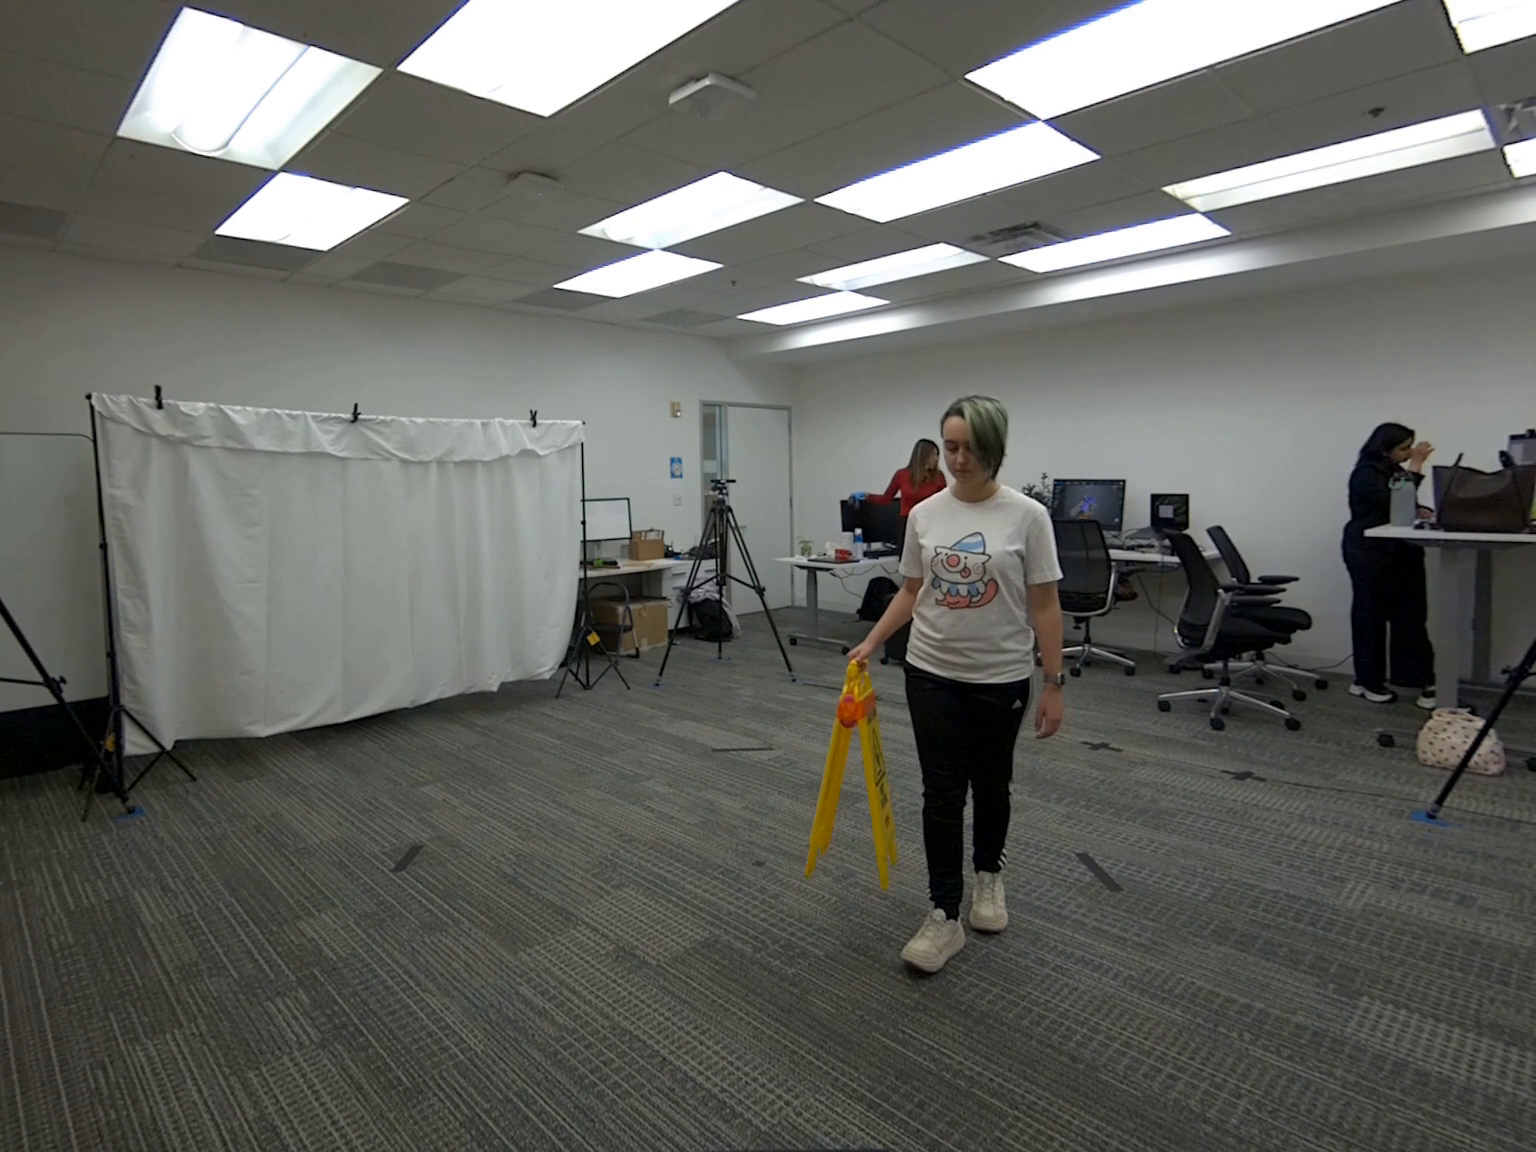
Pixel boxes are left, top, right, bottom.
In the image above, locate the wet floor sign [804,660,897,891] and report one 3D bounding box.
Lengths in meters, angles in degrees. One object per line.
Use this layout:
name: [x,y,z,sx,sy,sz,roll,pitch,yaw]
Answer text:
wet floor sign: [0.272,0.576,2.623,0.295,0.647,0.277,0,-2,19]
